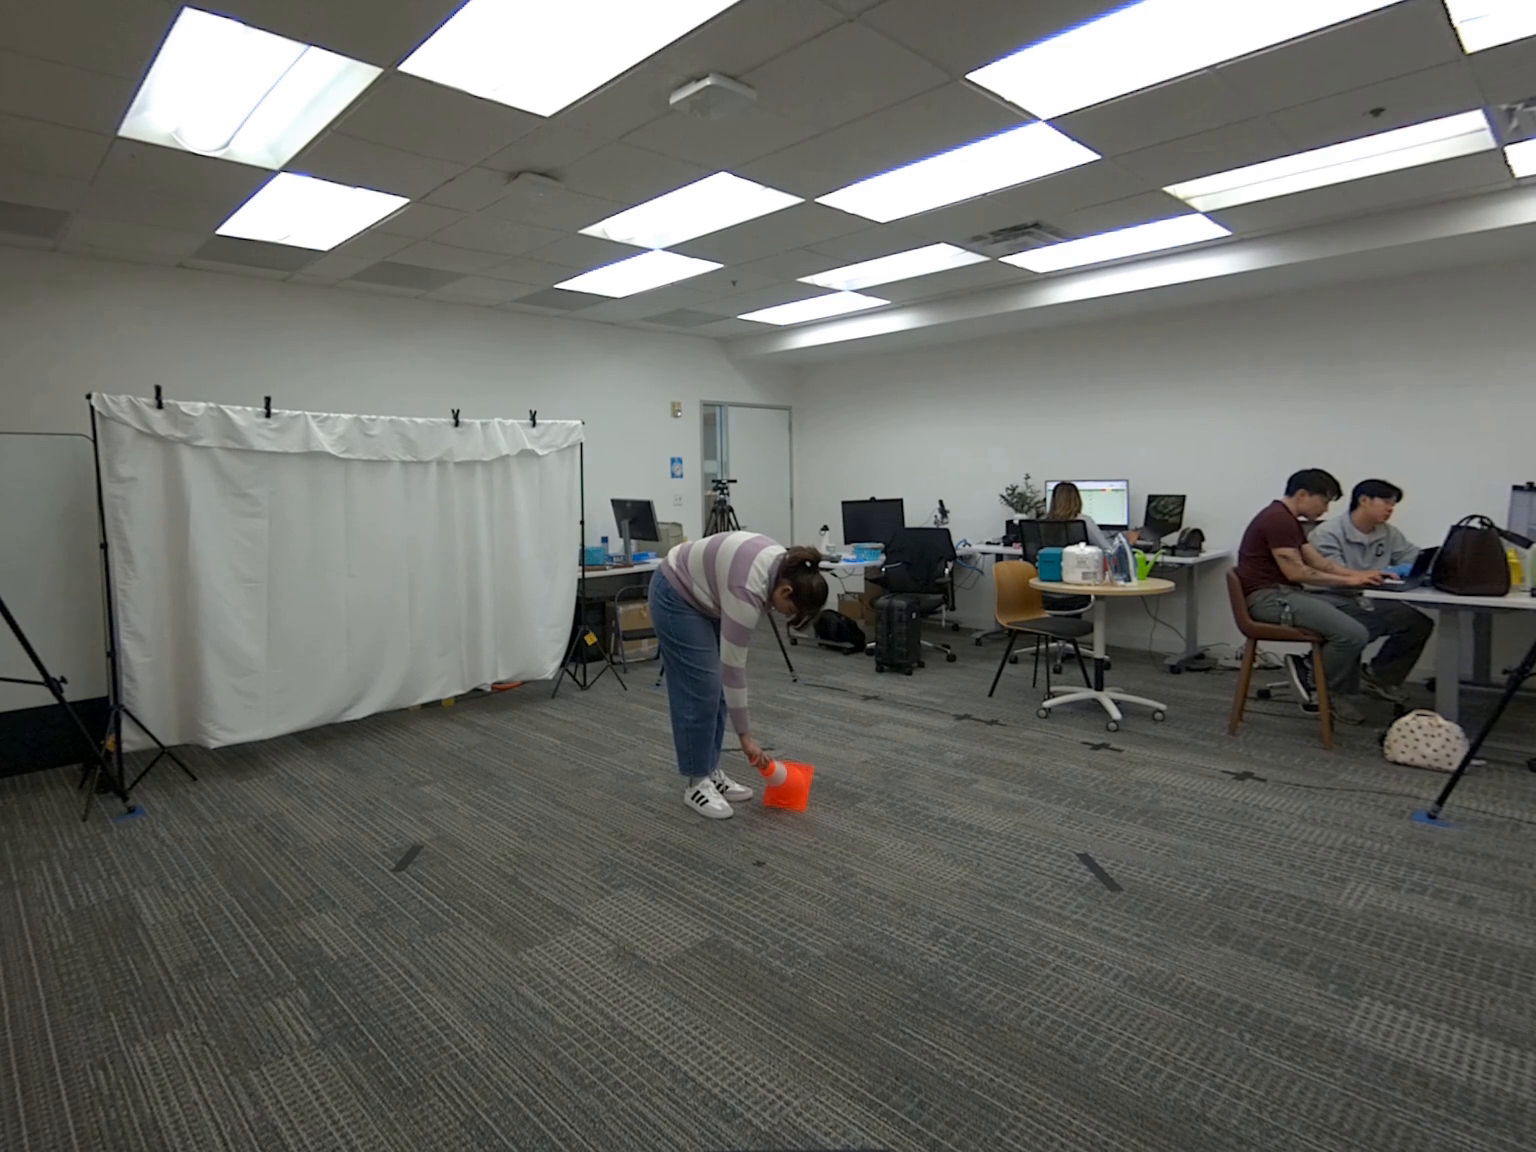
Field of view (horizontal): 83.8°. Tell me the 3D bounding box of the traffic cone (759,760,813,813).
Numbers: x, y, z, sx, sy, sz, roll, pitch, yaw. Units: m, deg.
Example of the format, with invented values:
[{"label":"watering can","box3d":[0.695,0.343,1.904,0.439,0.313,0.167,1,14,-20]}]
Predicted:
[{"label":"traffic cone","box3d":[0.021,0.804,3.521,0.209,0.207,0.369,7,-26,29]}]
